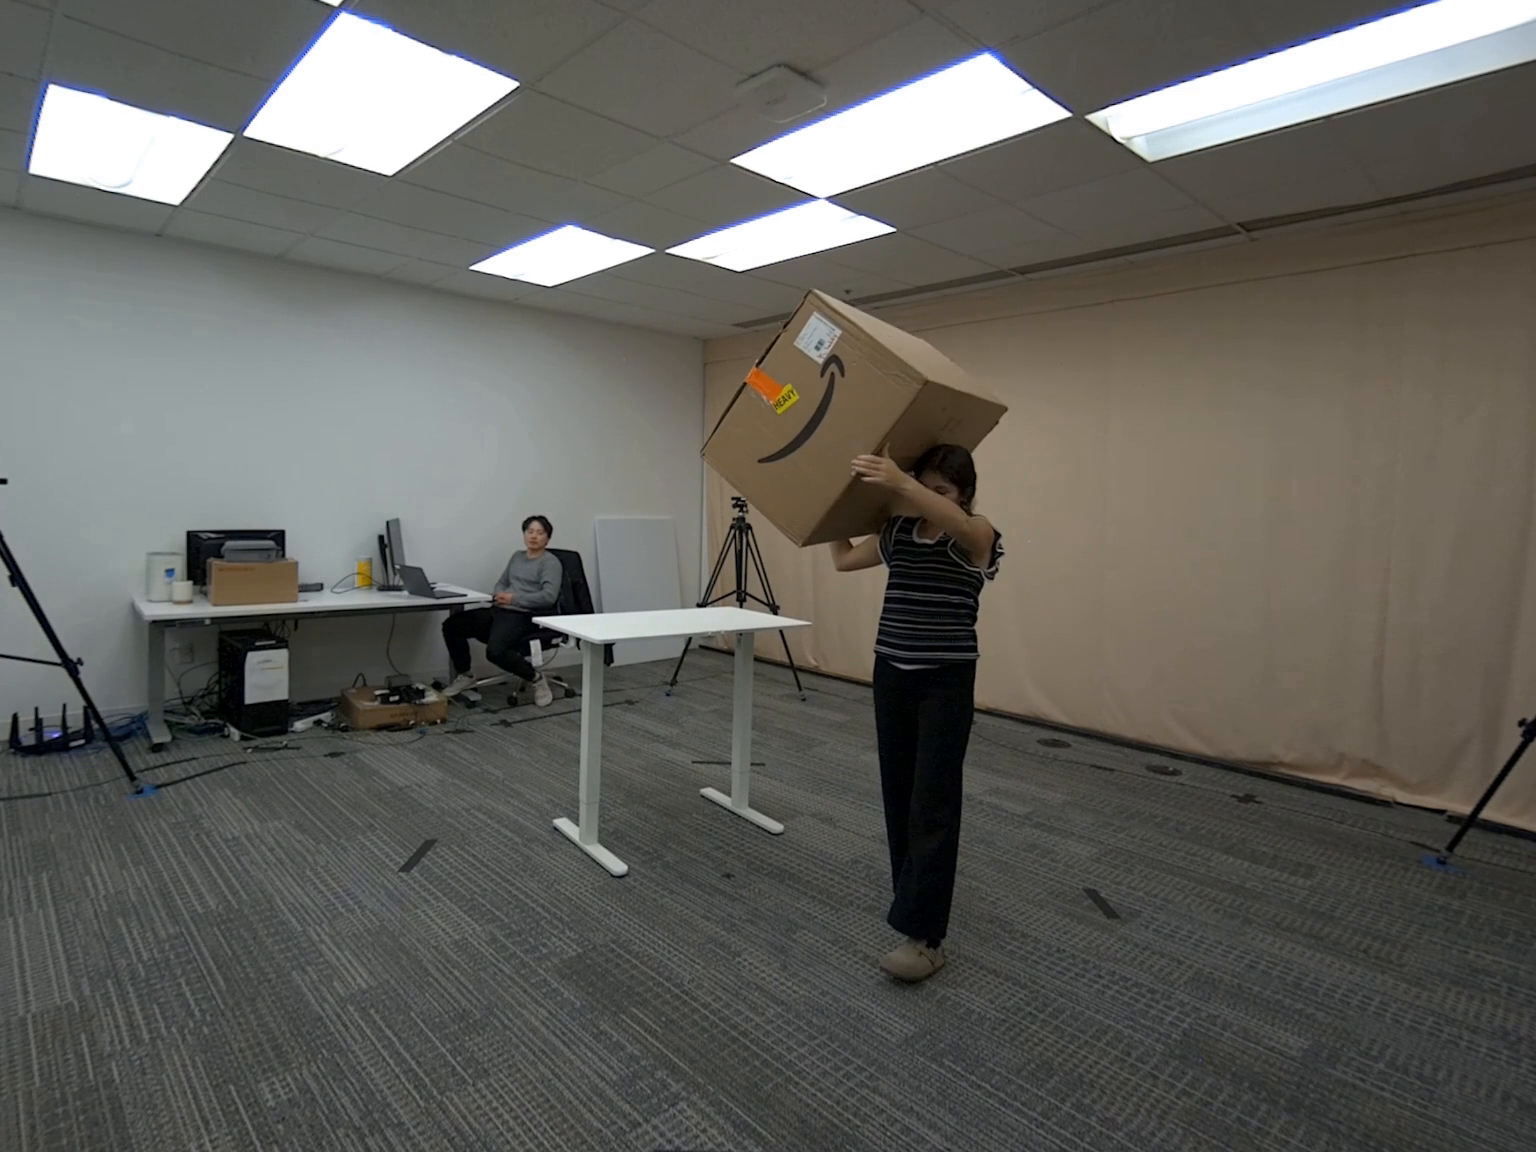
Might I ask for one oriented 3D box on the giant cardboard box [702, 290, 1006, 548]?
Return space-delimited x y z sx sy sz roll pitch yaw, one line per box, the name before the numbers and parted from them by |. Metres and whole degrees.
giant cardboard box | 0.323 -0.481 2.744 0.434 0.576 1.009 44 23 17
